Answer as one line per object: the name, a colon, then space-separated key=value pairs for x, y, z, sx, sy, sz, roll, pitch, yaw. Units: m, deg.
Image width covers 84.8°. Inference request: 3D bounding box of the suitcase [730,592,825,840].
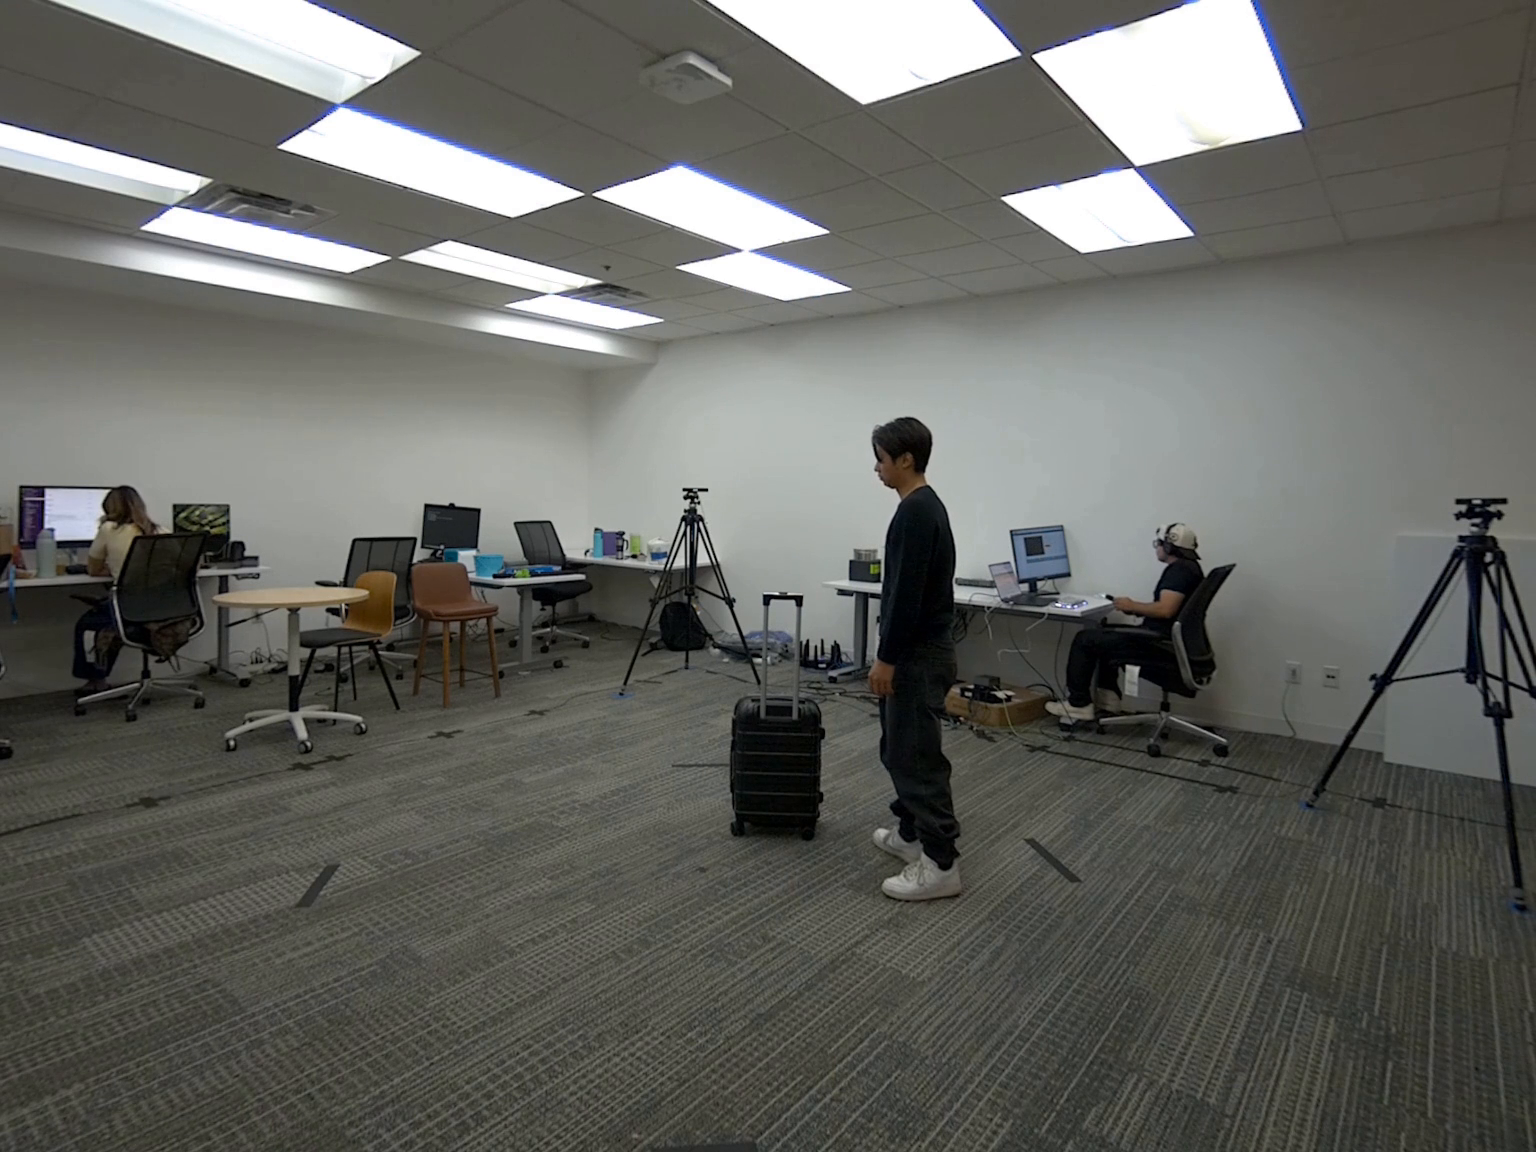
suitcase: x=0.031 y=0.558 z=3.499 sx=0.384 sy=0.978 sz=0.257 roll=2 pitch=1 yaw=-1
